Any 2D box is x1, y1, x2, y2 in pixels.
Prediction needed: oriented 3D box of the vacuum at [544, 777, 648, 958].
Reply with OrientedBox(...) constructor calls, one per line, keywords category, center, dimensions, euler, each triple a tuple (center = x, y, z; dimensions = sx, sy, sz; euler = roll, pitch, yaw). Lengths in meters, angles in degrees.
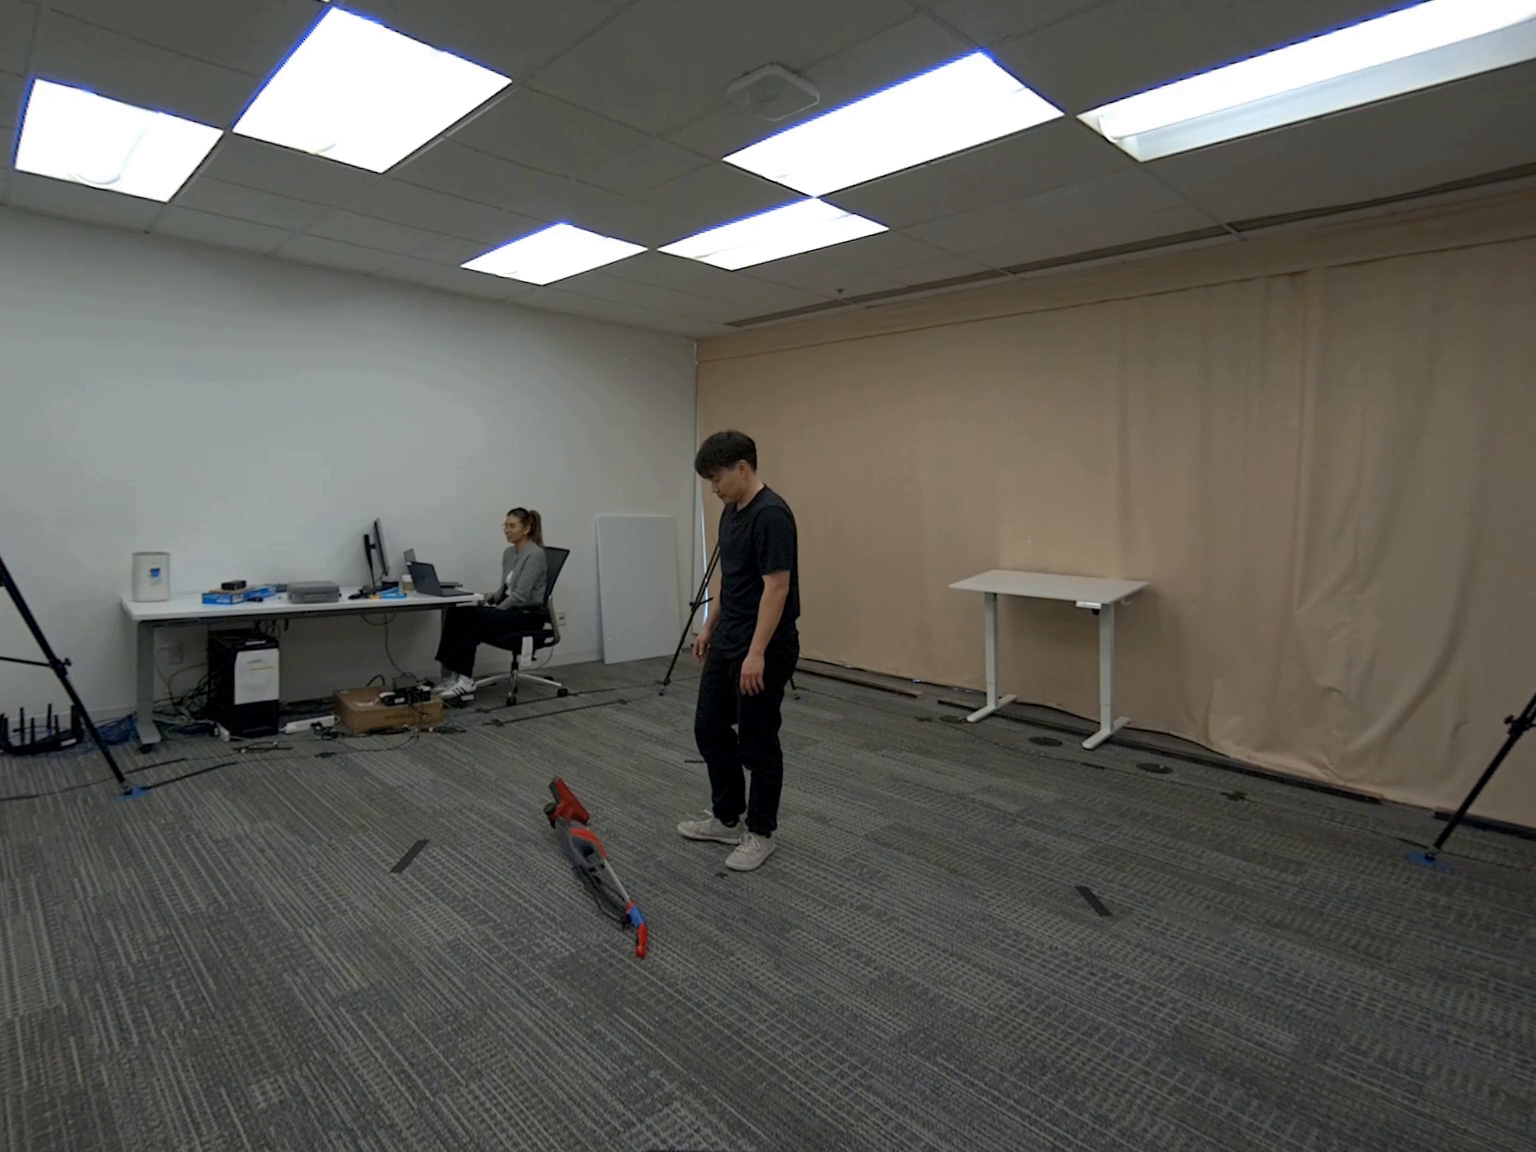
OrientedBox(category="vacuum", center=(-0.618, 1.052, 3.008), dimensions=(0.143, 0.247, 1.074), euler=(-36, 23, -15))
